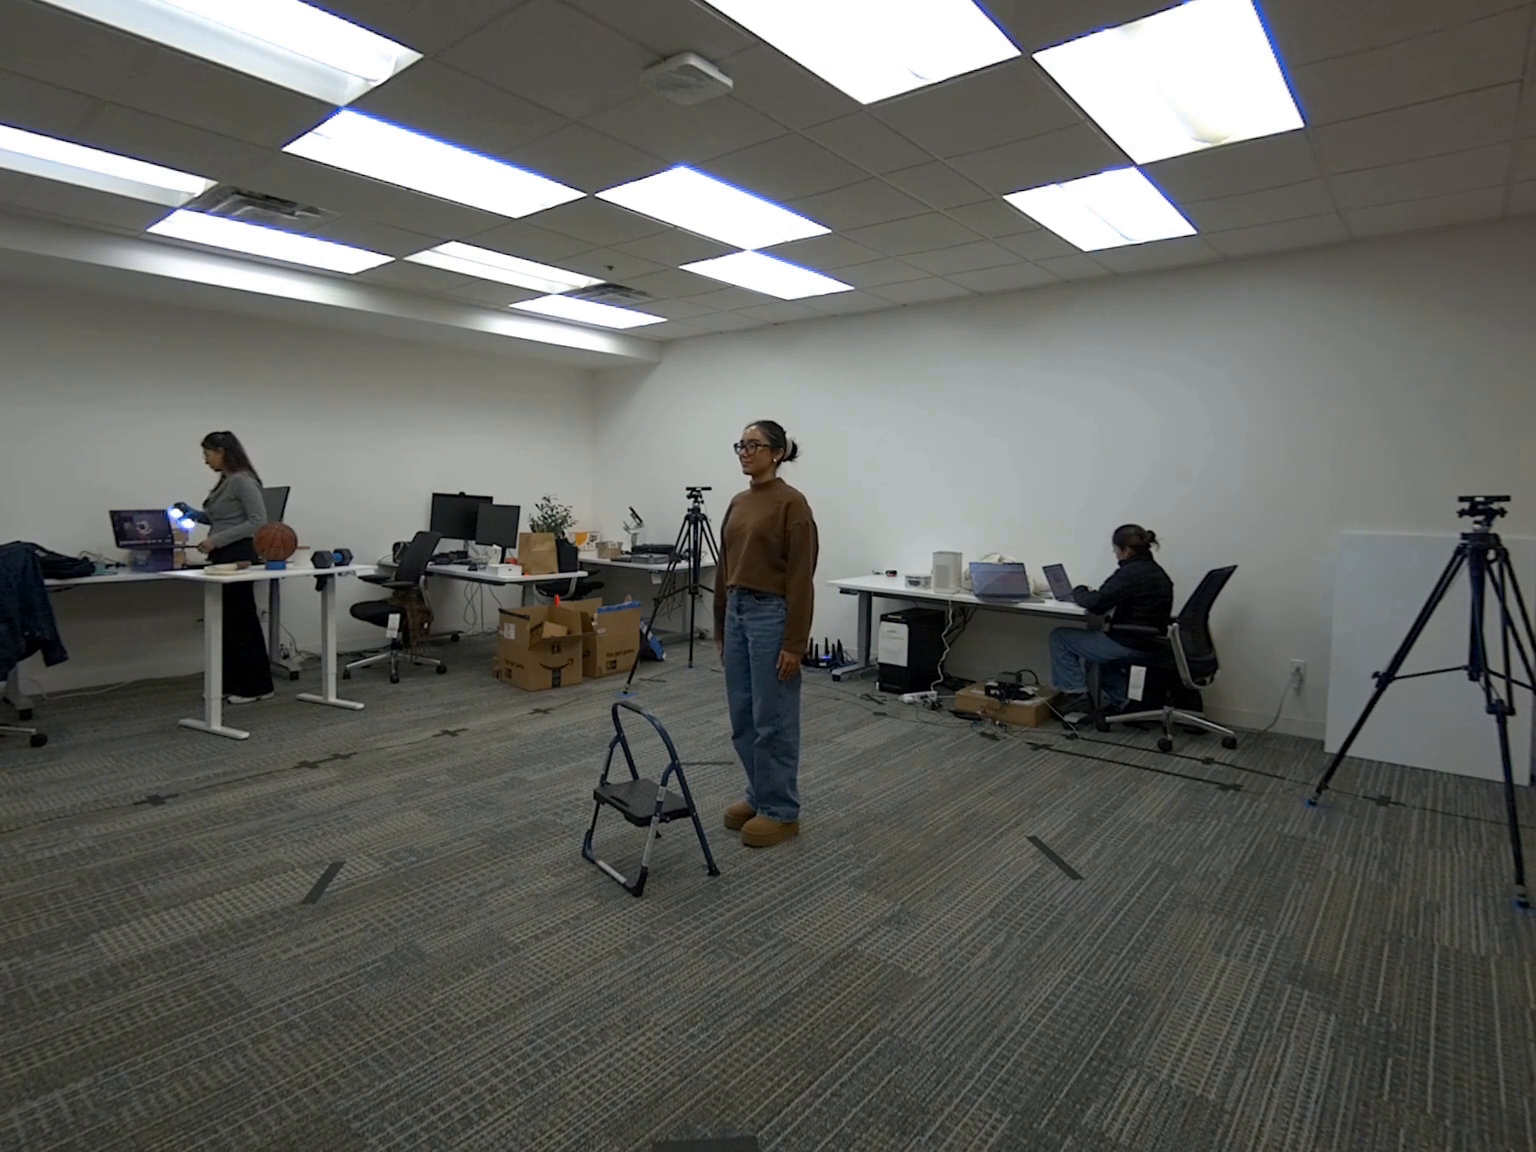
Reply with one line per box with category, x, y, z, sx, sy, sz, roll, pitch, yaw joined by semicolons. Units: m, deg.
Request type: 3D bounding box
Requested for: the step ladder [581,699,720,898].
step ladder;-0.444;0.756;3.116;0.339;0.604;0.445;-2;5;-39
